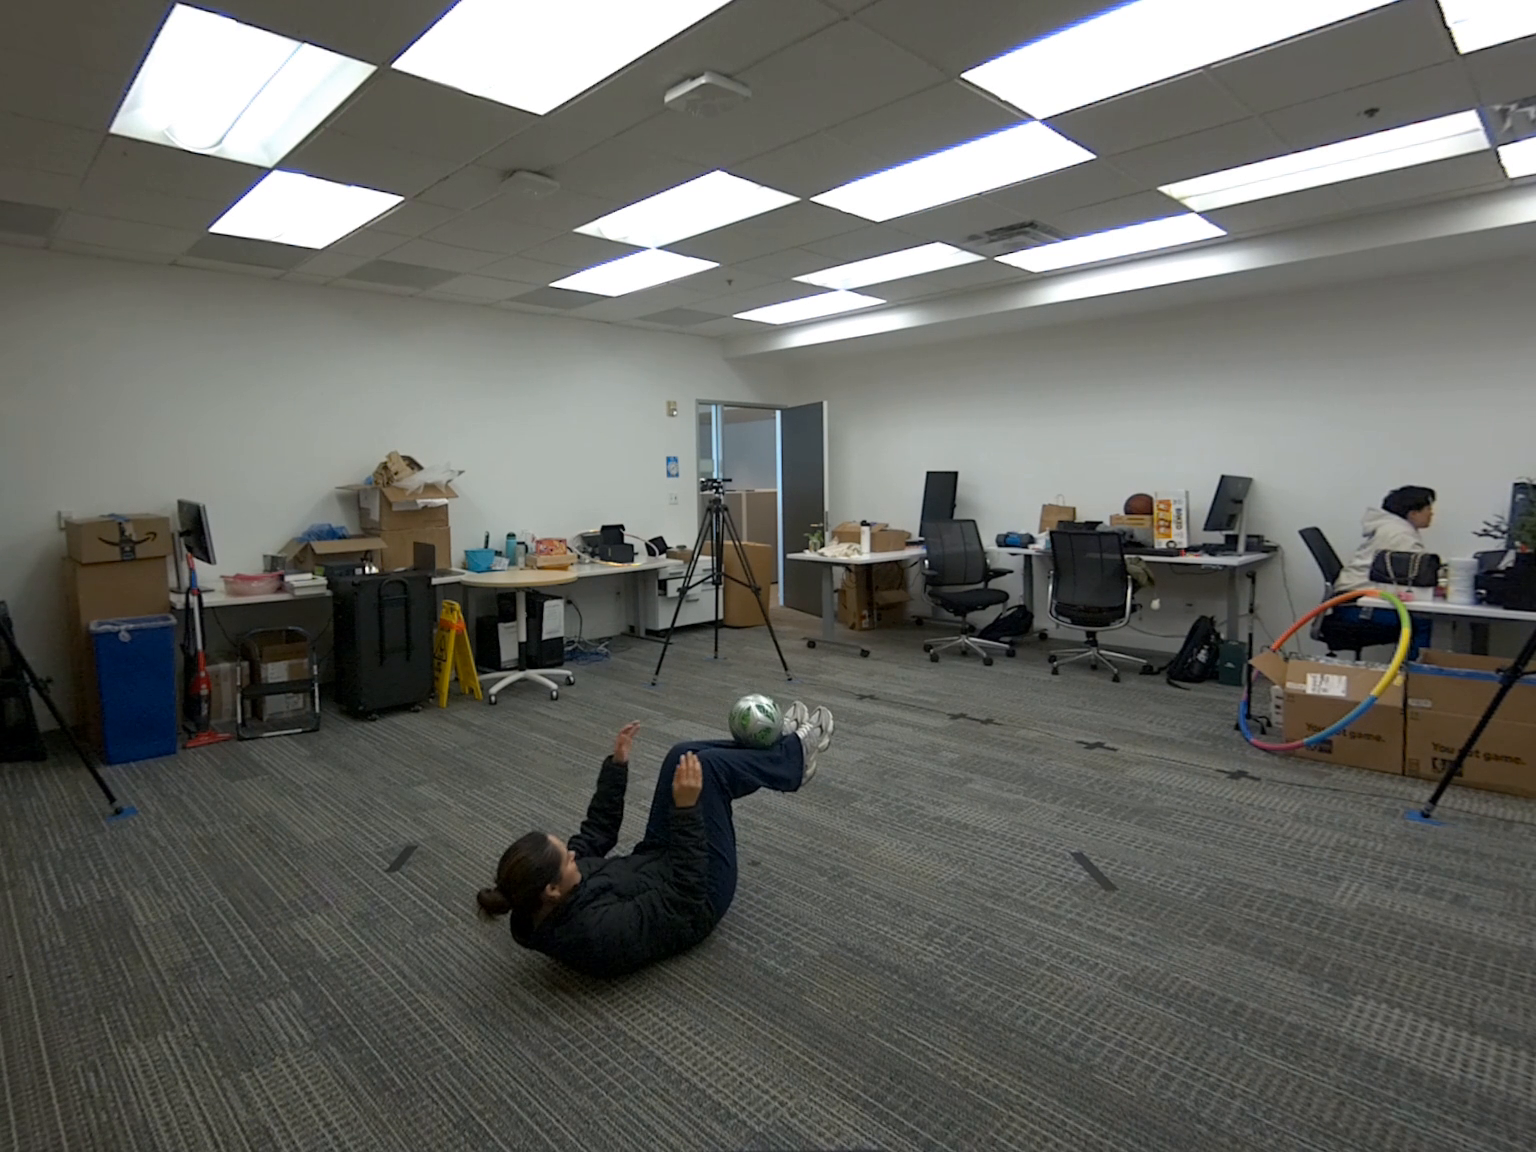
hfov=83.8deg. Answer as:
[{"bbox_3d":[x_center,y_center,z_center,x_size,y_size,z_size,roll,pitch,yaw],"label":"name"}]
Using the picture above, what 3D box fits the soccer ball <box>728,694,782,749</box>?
[{"bbox_3d":[-0.032,0.490,2.857,0.187,0.187,0.188,0,1,-2],"label":"soccer ball"}]
